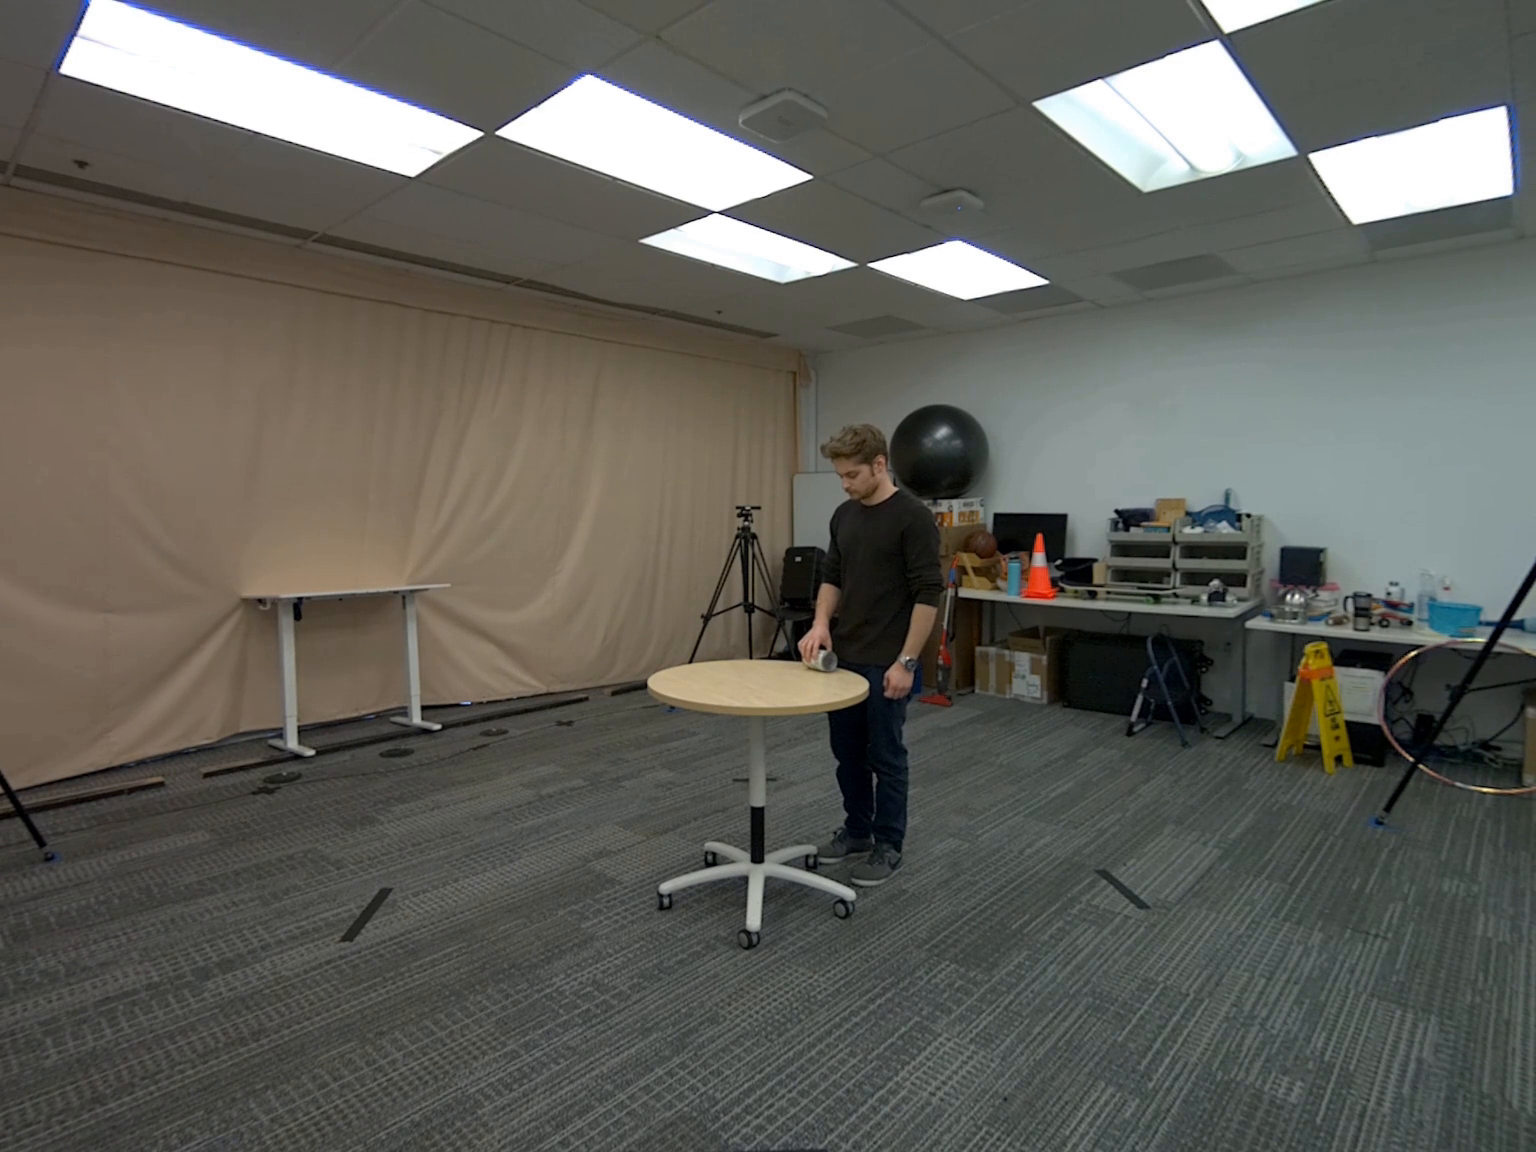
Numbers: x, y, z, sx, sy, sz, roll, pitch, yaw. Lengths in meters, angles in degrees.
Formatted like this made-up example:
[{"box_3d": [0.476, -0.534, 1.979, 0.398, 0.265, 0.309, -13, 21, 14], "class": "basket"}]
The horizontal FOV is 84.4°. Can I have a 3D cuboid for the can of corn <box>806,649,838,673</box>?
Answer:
[{"box_3d": [0.202, 0.313, 3.110, 0.073, 0.074, 0.113, -1, 3, -21], "class": "can of corn"}]
